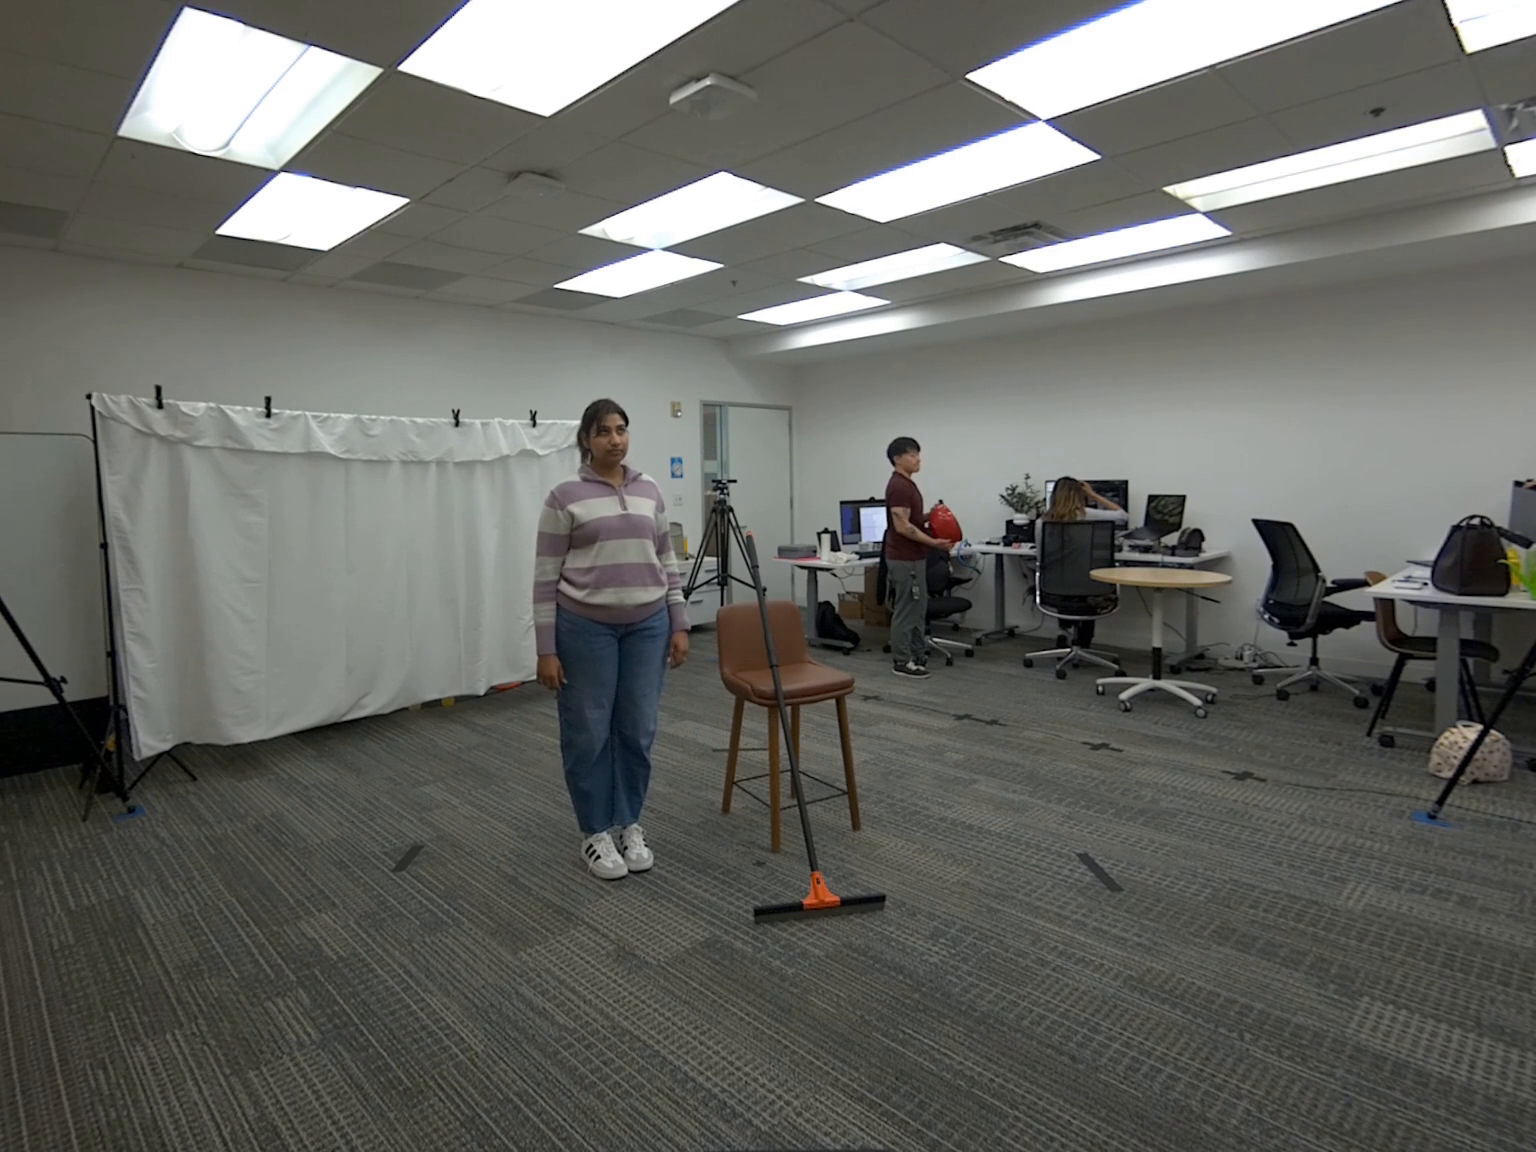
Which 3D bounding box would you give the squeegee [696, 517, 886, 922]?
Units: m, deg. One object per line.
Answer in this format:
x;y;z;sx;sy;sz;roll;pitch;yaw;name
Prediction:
0.046;0.435;3.169;0.433;1.585;0.052;-3;-37;-10;squeegee
